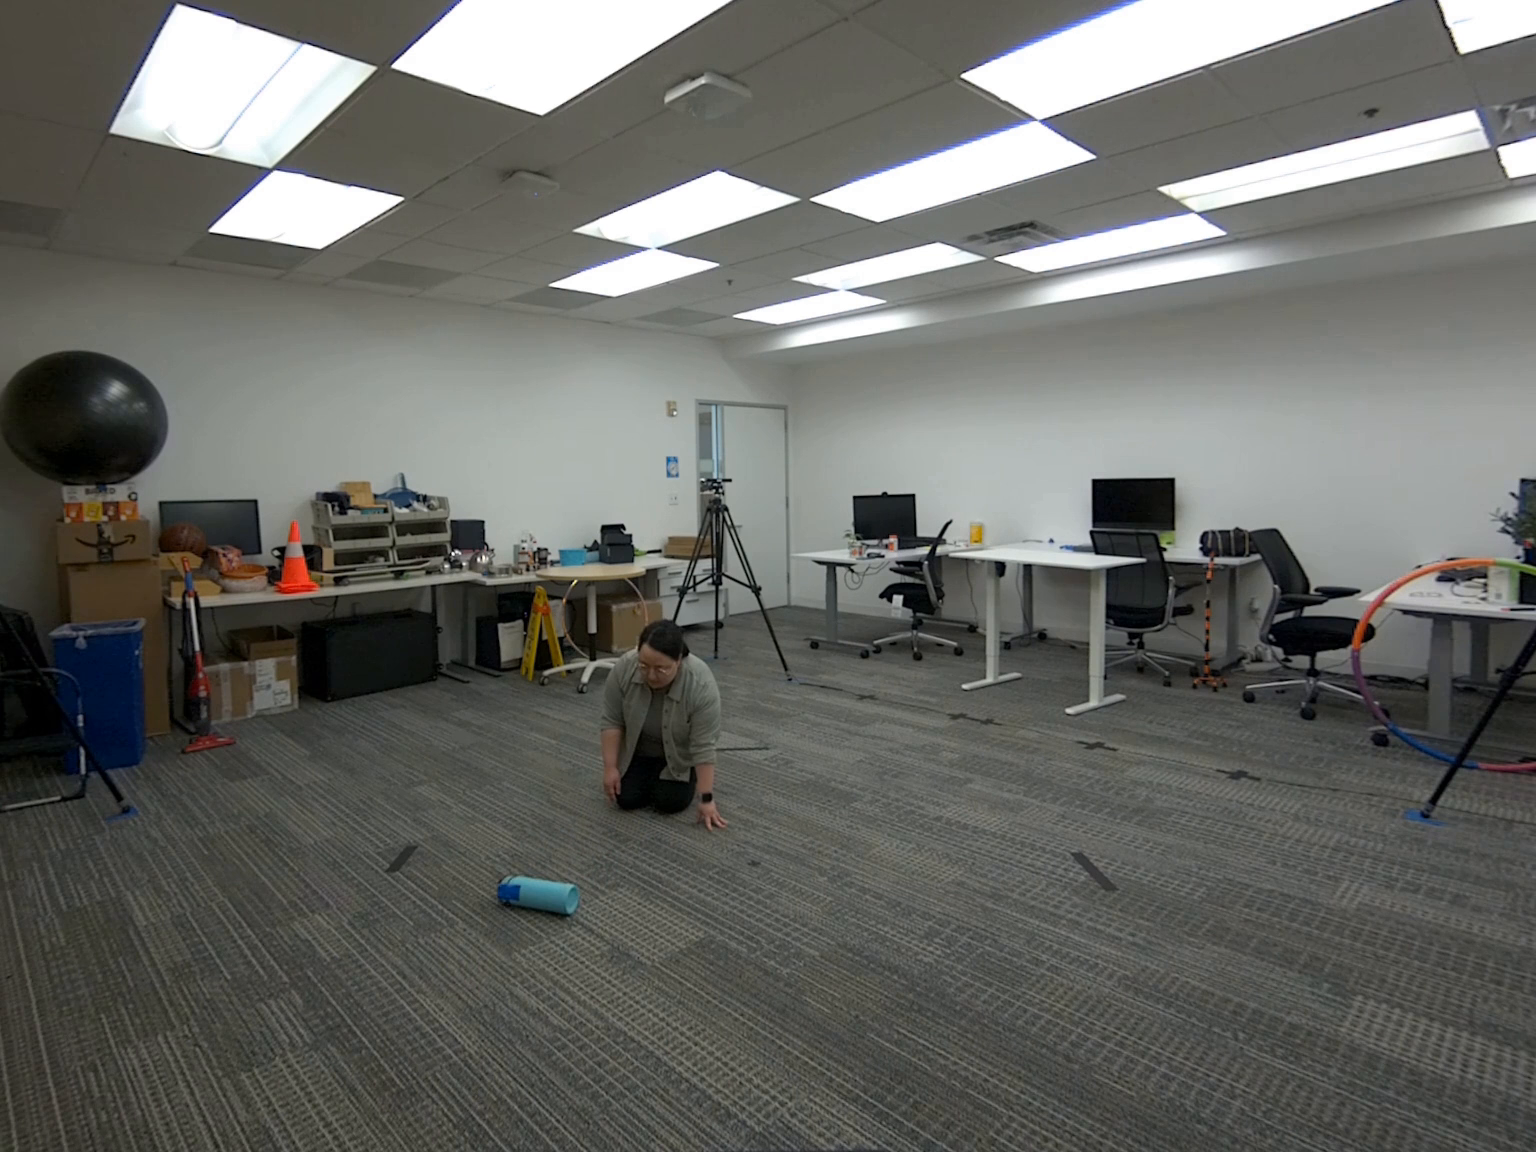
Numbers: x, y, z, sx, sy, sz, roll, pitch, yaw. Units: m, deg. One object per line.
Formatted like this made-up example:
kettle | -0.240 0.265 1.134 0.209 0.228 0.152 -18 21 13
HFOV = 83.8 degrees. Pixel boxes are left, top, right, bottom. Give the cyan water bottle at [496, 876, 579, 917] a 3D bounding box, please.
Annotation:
cyan water bottle | -0.769 1.048 2.816 0.289 0.092 0.091 0 5 20
